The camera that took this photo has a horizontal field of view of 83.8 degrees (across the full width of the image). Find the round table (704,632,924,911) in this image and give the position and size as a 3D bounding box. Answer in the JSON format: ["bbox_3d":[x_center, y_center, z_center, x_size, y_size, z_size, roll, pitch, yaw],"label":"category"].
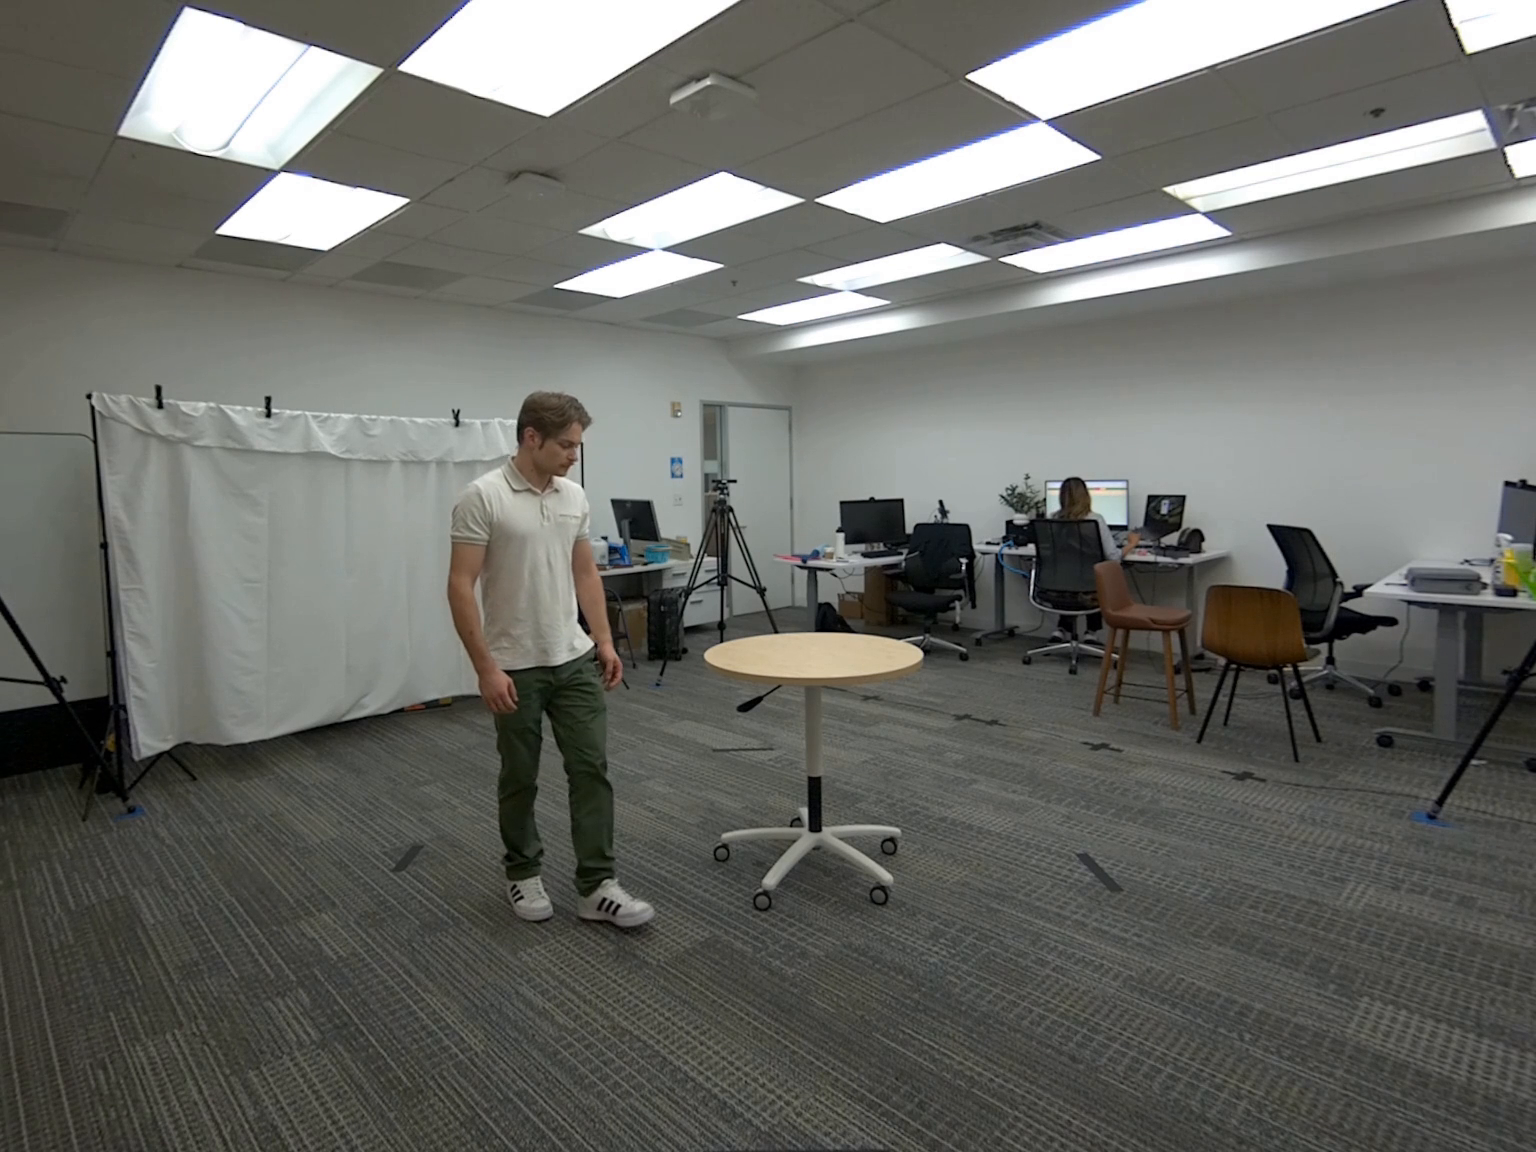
[{"bbox_3d":[0.175,0.658,3.042,0.784,0.783,0.789,-2,5,-2],"label":"round table"}]
